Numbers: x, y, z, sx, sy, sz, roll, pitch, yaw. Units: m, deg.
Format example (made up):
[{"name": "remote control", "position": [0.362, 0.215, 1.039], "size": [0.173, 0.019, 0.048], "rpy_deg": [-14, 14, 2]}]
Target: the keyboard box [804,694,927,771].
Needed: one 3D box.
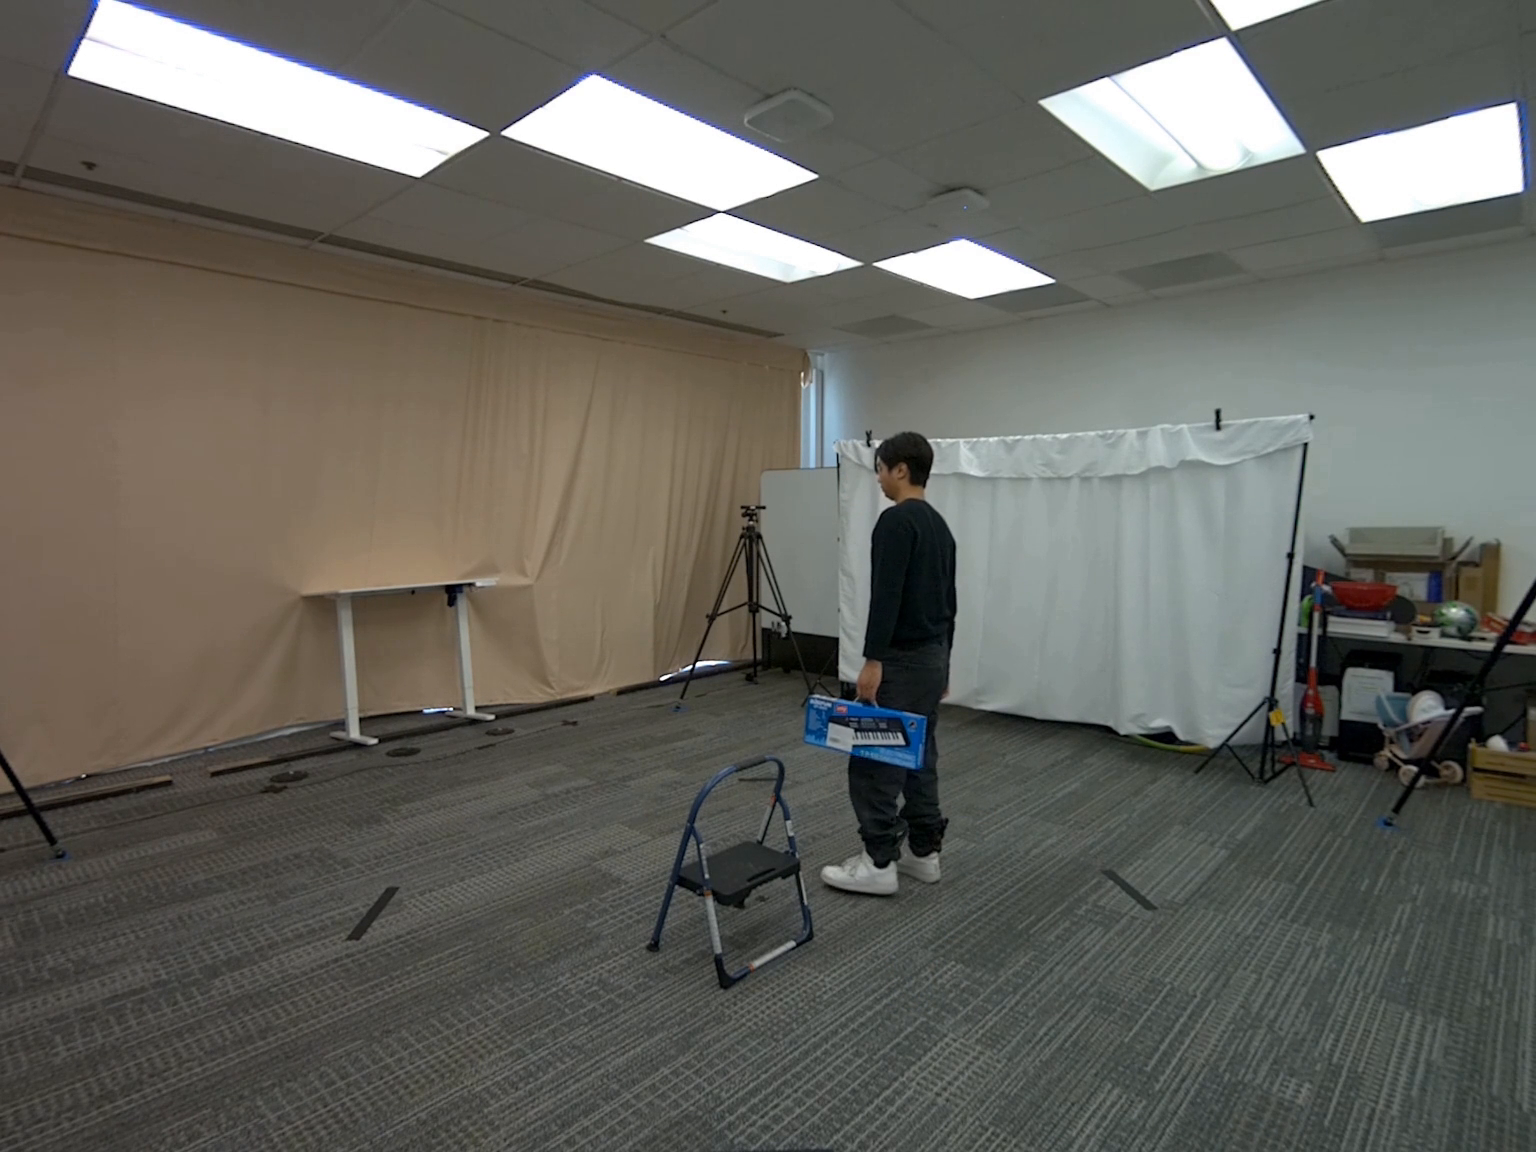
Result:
[{"name": "keyboard box", "position": [0.342, 0.542, 2.957], "size": [0.451, 0.176, 0.057], "rpy_deg": [6, 1, 36]}]
